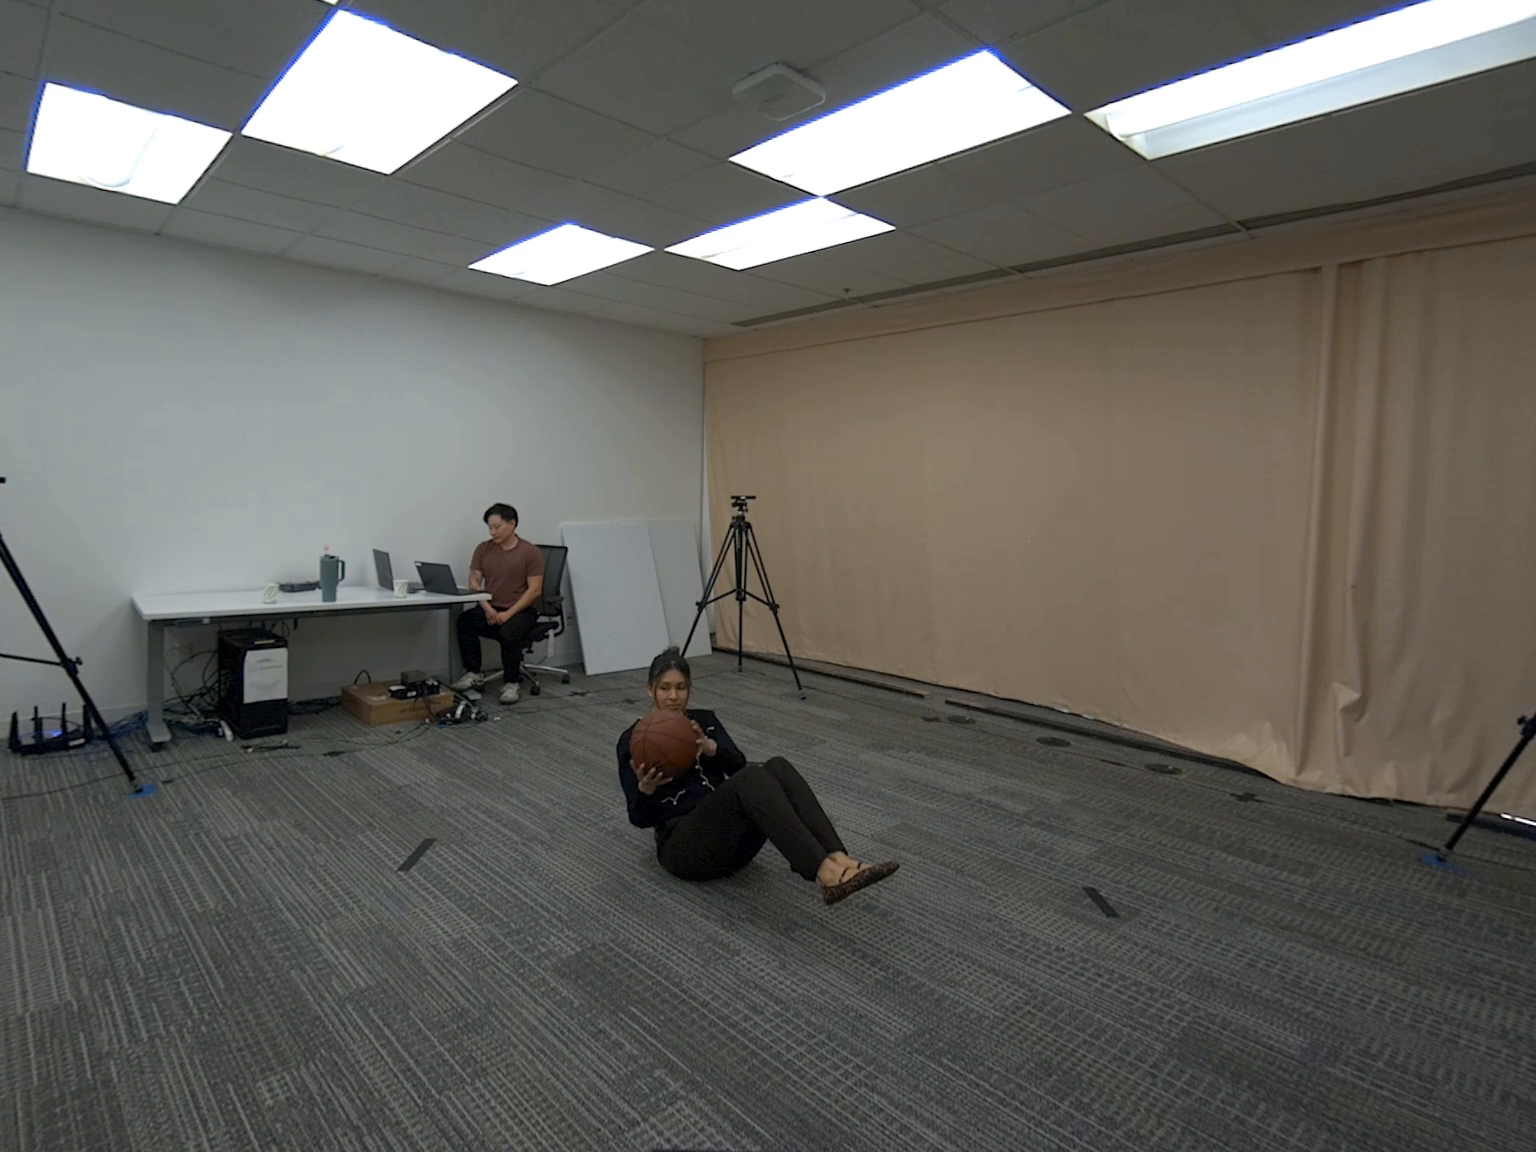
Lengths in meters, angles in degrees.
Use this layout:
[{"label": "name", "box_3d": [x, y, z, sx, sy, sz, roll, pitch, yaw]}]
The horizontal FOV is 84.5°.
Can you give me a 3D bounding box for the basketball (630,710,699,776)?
[{"label": "basketball", "box_3d": [-0.364, 0.586, 2.918, 0.236, 0.235, 0.237, 1, 4, -1]}]
